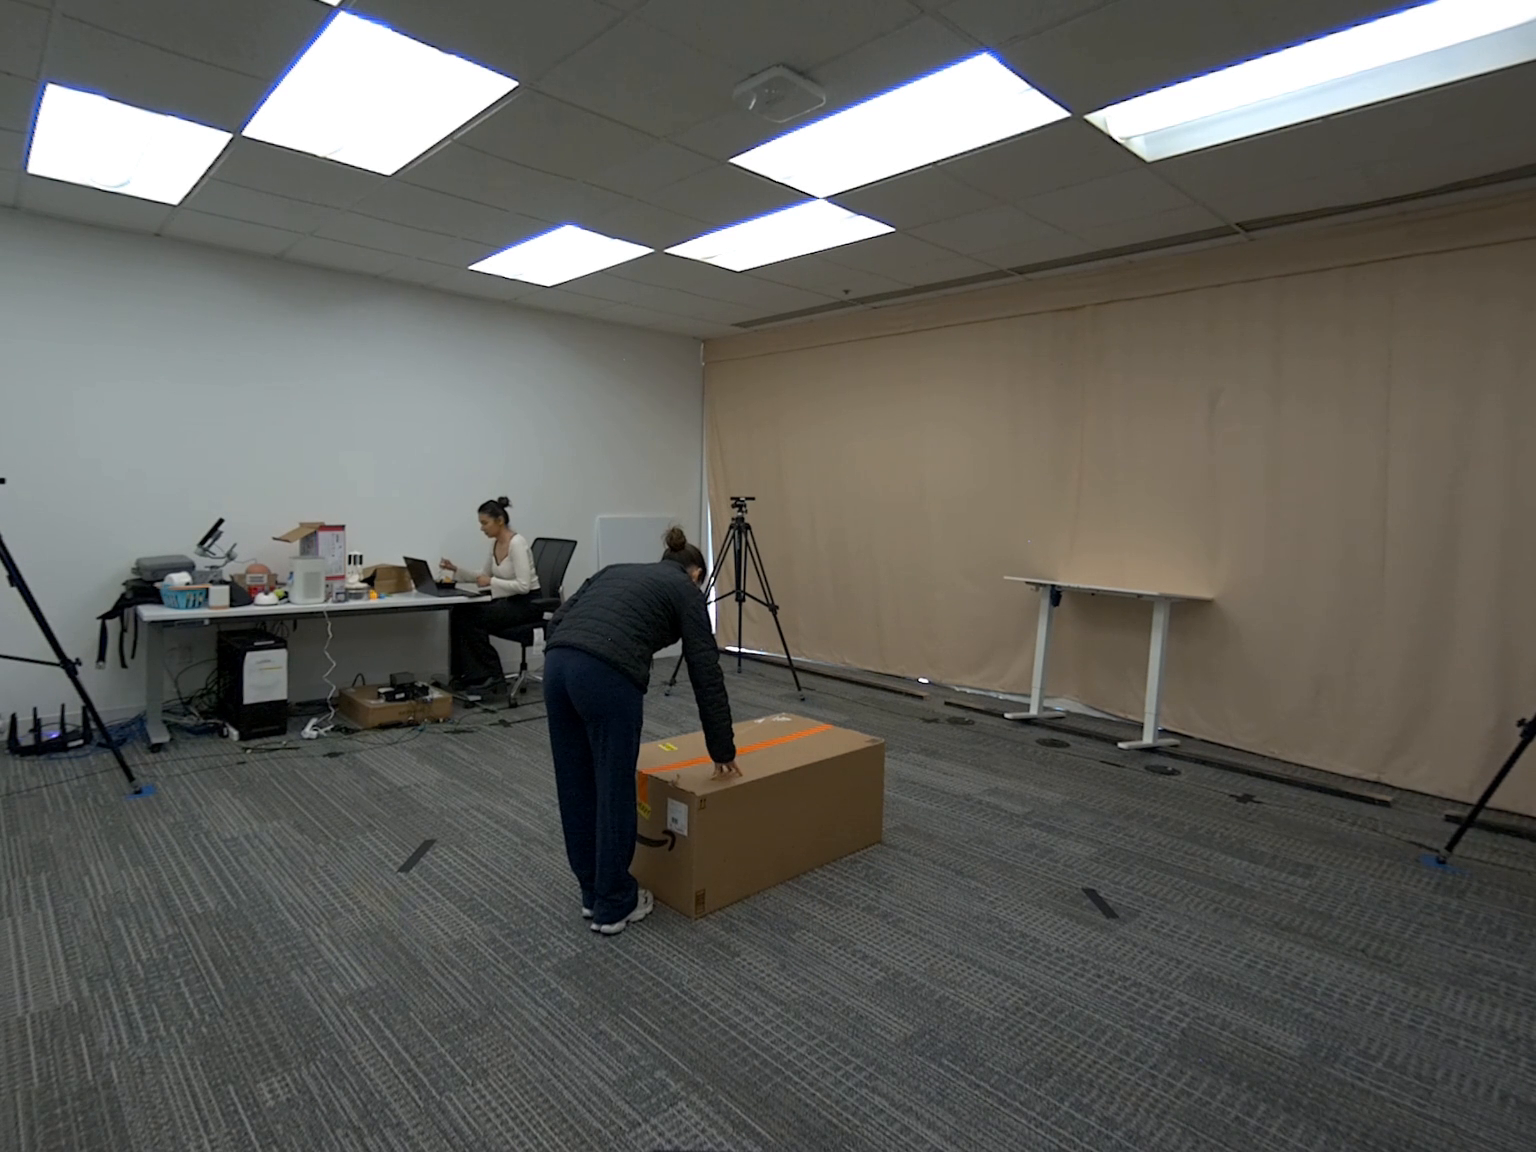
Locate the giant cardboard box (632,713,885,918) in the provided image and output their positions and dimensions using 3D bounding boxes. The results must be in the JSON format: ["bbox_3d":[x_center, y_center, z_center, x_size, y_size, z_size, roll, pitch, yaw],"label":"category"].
[{"bbox_3d":[-0.090,0.884,3.295,1.003,0.445,0.599,-2,7,-45],"label":"giant cardboard box"}]
